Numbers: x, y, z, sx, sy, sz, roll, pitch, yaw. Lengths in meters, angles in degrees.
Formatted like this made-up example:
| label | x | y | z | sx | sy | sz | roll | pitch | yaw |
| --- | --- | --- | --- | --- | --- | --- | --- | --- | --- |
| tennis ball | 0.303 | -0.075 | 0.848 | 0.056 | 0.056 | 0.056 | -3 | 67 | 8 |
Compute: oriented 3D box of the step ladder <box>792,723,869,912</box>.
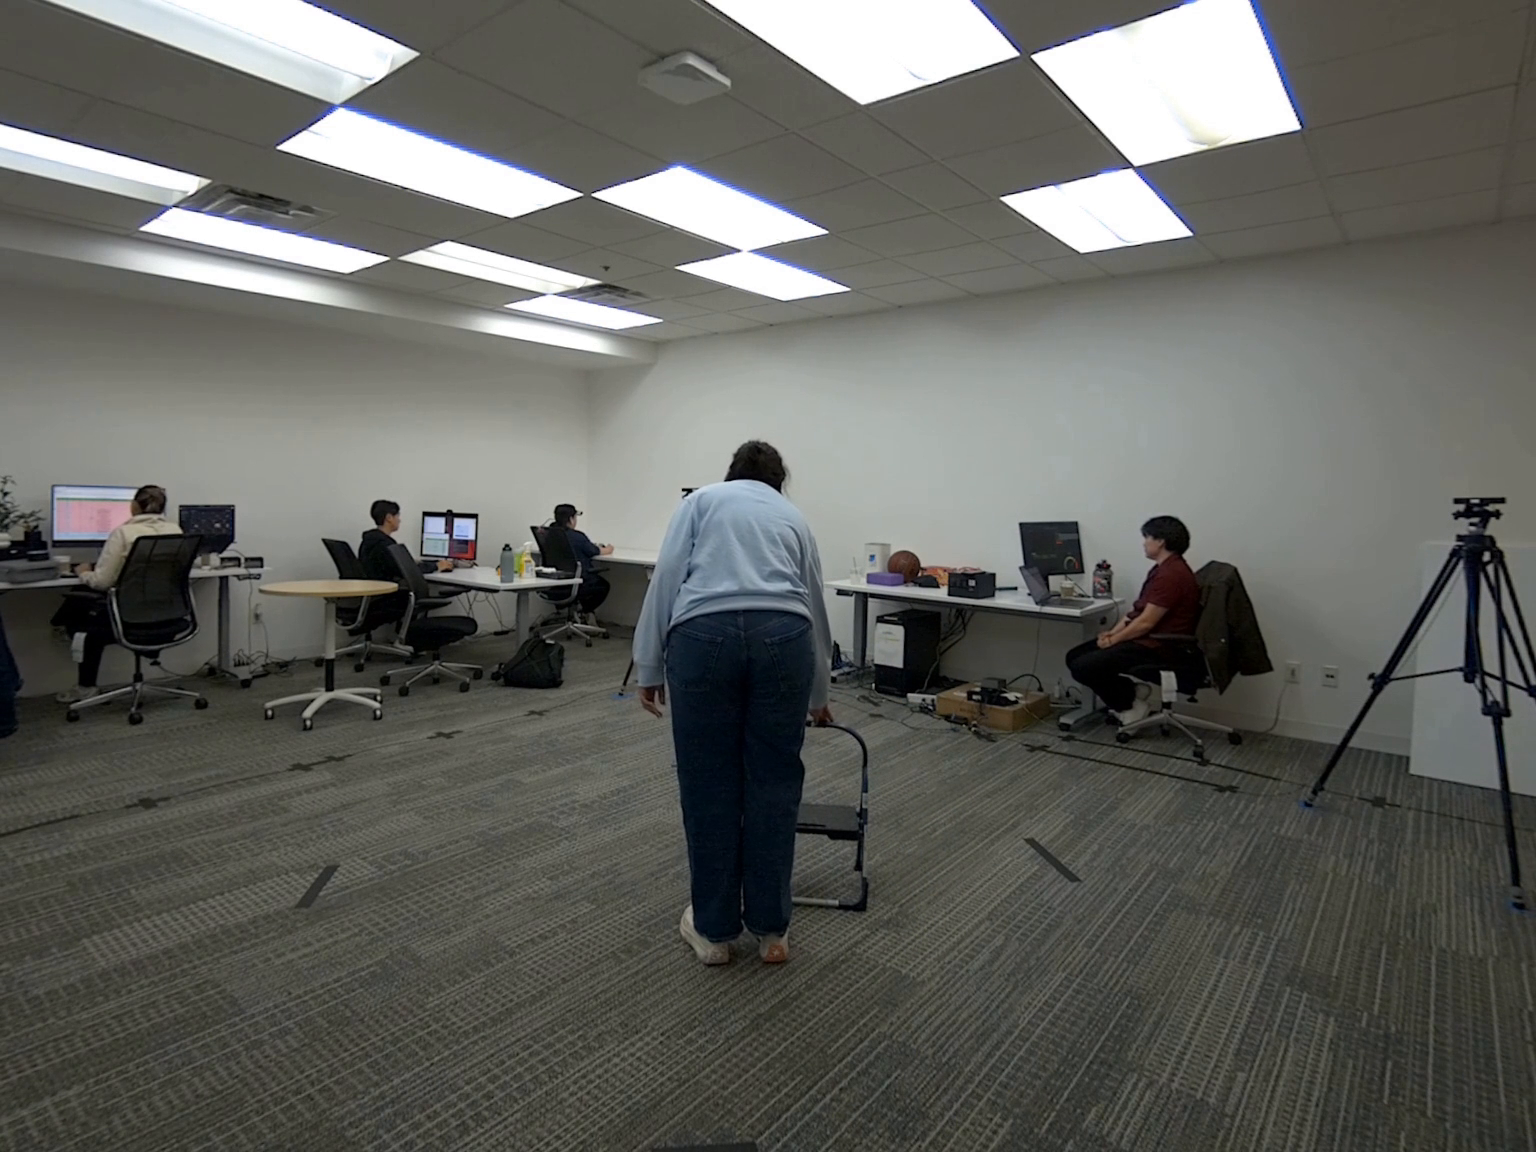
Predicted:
| label | x | y | z | sx | sy | sz | roll | pitch | yaw |
| --- | --- | --- | --- | --- | --- | --- | --- | --- | --- |
| step ladder | 0.134 | 0.784 | 2.992 | 0.433 | 0.604 | 0.348 | 2 | 3 | 5 |
